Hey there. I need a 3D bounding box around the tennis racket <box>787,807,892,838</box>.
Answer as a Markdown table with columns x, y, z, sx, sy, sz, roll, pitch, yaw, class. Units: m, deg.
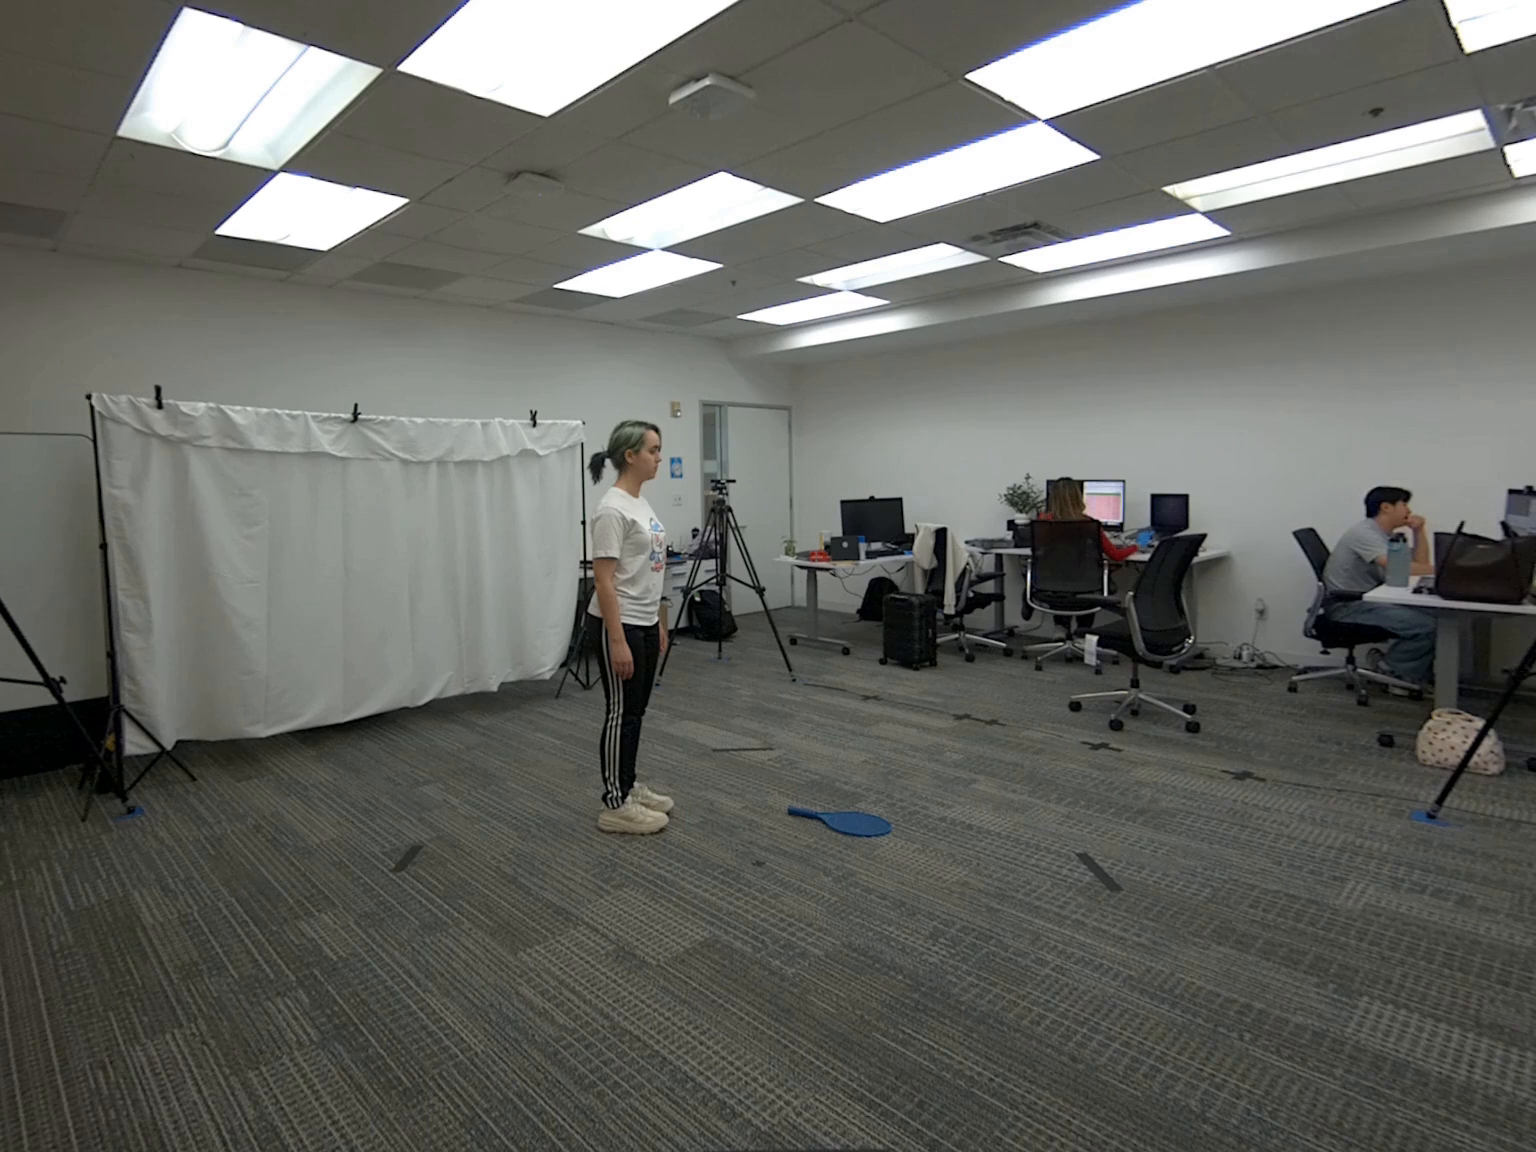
| x | y | z | sx | sy | sz | roll | pitch | yaw | class |
| --- | --- | --- | --- | --- | --- | --- | --- | --- | --- |
| 0.287 | 0.984 | 3.469 | 0.444 | 0.031 | 0.209 | 4 | 7 | 28 | tennis racket |
